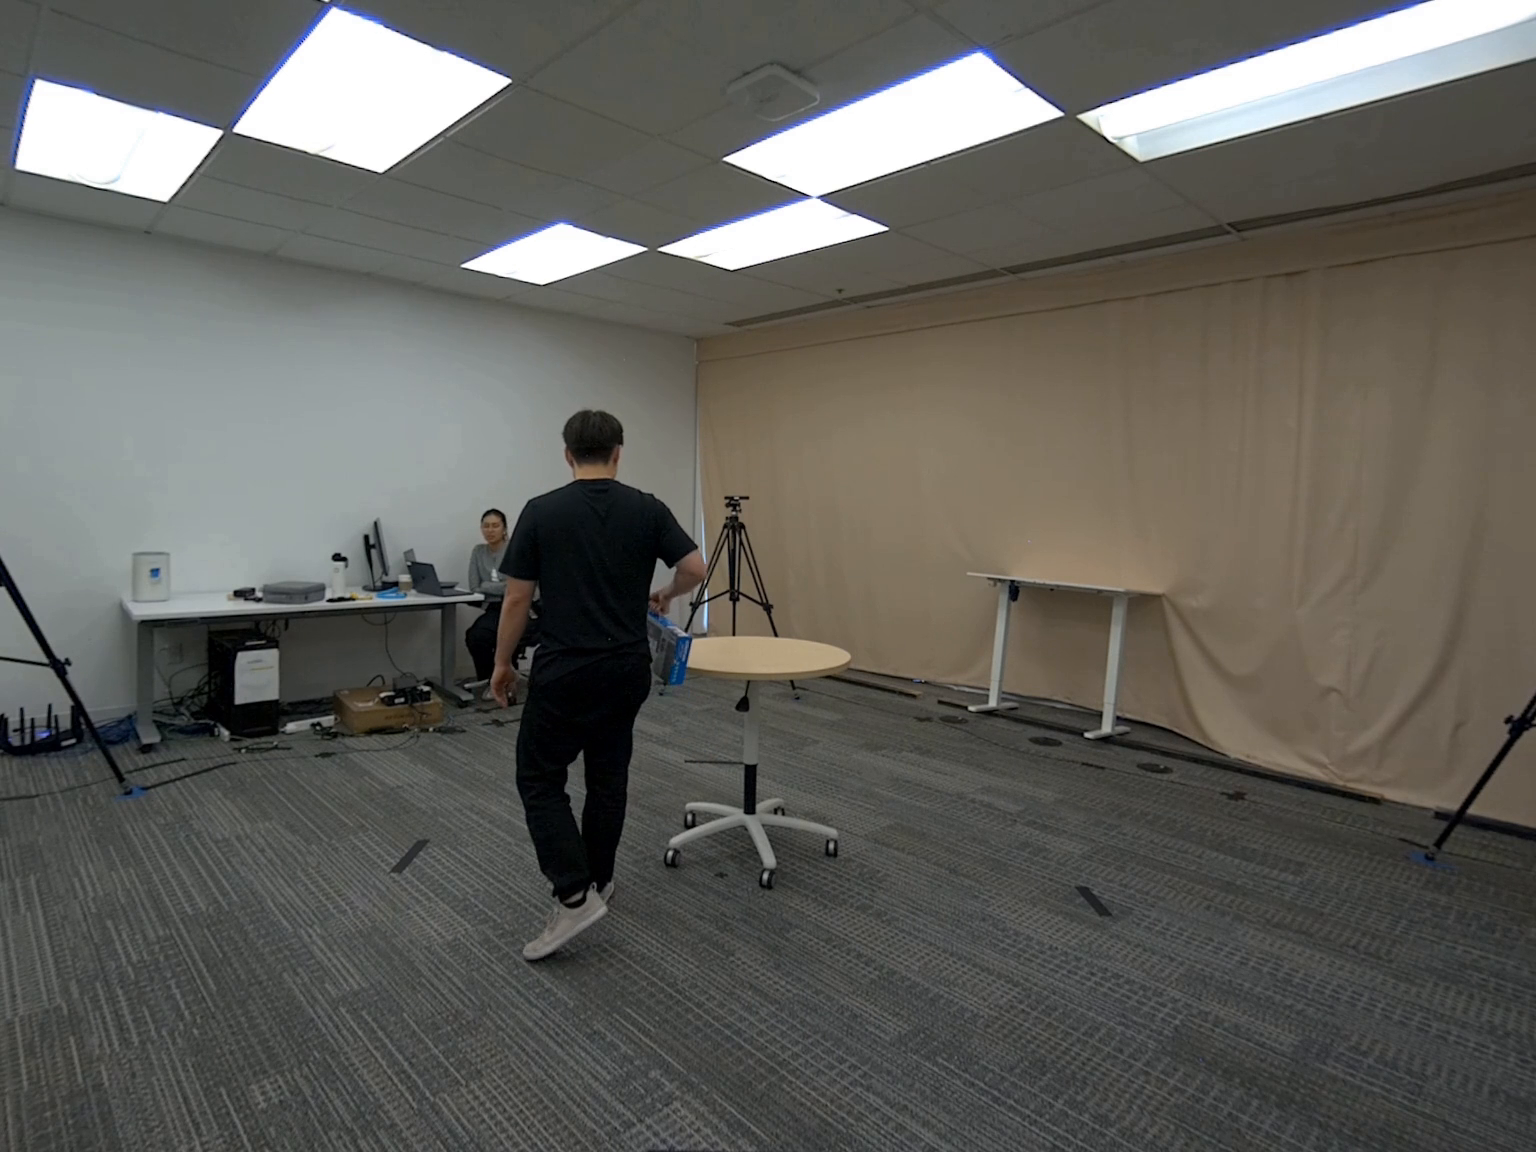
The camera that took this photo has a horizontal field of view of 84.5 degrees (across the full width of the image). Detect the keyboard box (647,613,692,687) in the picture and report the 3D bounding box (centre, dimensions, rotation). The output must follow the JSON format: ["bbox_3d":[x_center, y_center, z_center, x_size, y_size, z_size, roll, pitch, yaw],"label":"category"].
[{"bbox_3d":[-0.417,0.225,2.962,0.058,0.175,0.450,5,15,-38],"label":"keyboard box"}]
